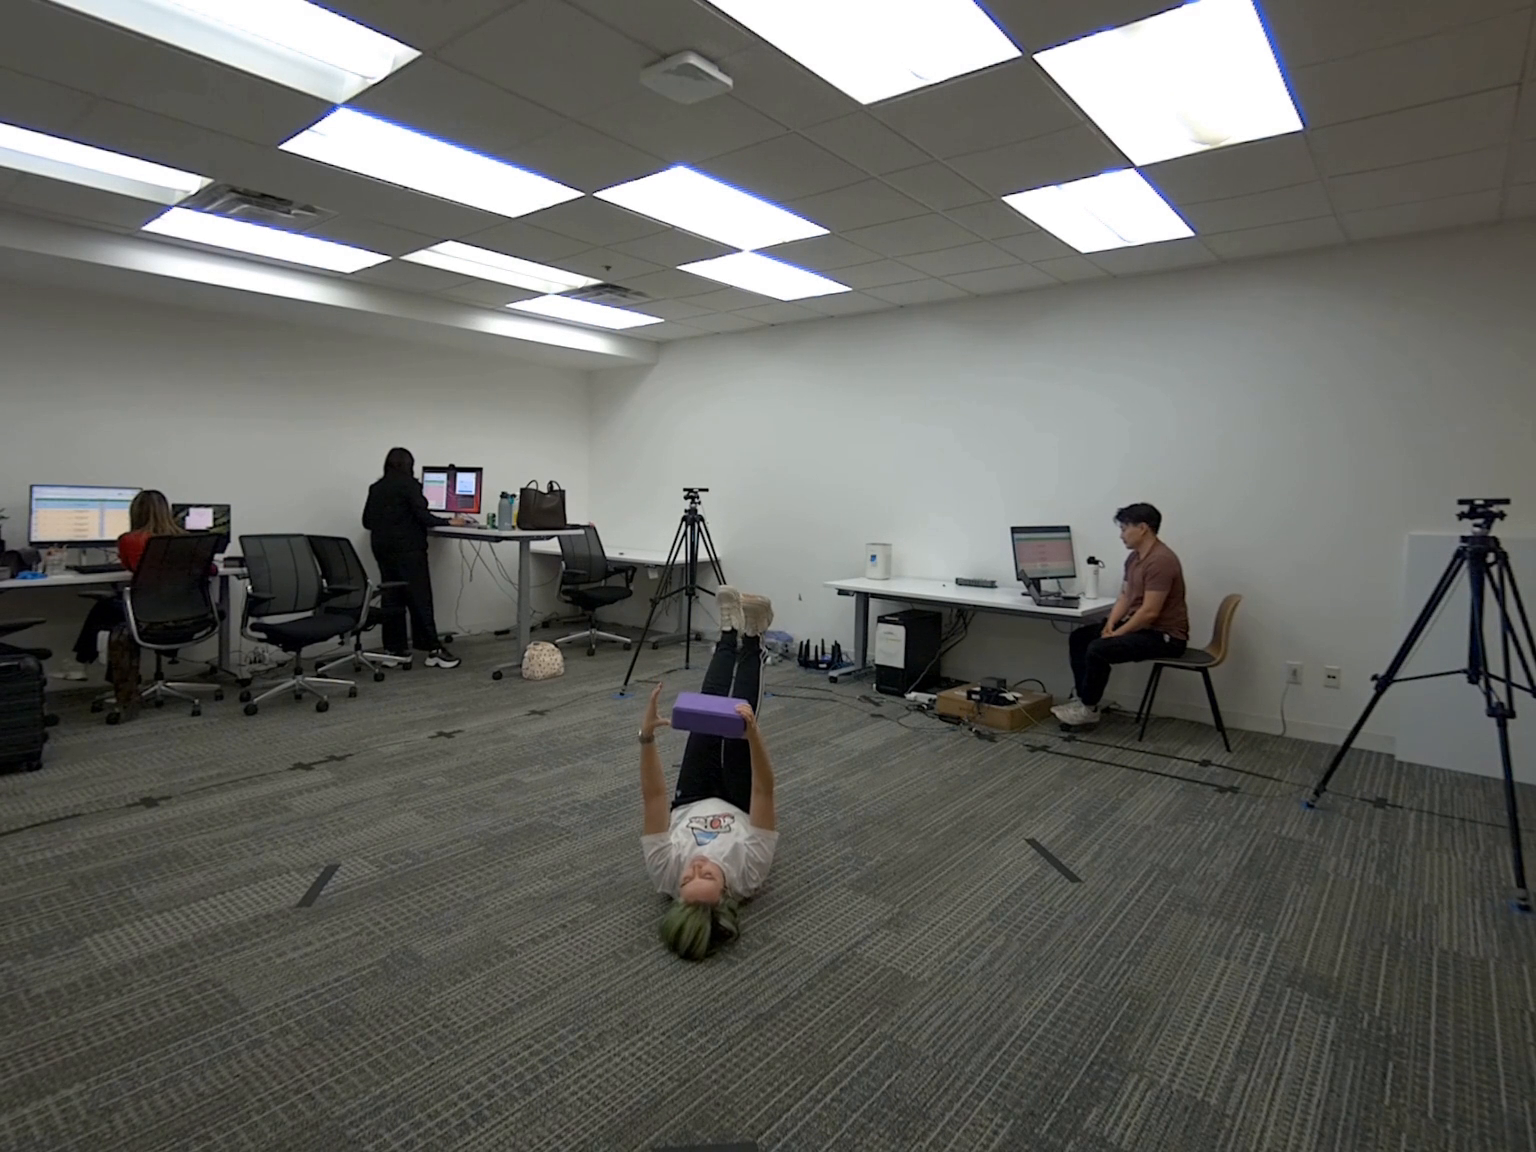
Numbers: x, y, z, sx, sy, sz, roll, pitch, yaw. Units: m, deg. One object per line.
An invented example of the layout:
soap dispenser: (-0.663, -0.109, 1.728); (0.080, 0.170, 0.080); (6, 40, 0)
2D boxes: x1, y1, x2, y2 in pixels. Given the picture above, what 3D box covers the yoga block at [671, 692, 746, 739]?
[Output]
yoga block: (-0.193, 0.445, 2.719); (0.229, 0.076, 0.150); (4, 11, 0)
